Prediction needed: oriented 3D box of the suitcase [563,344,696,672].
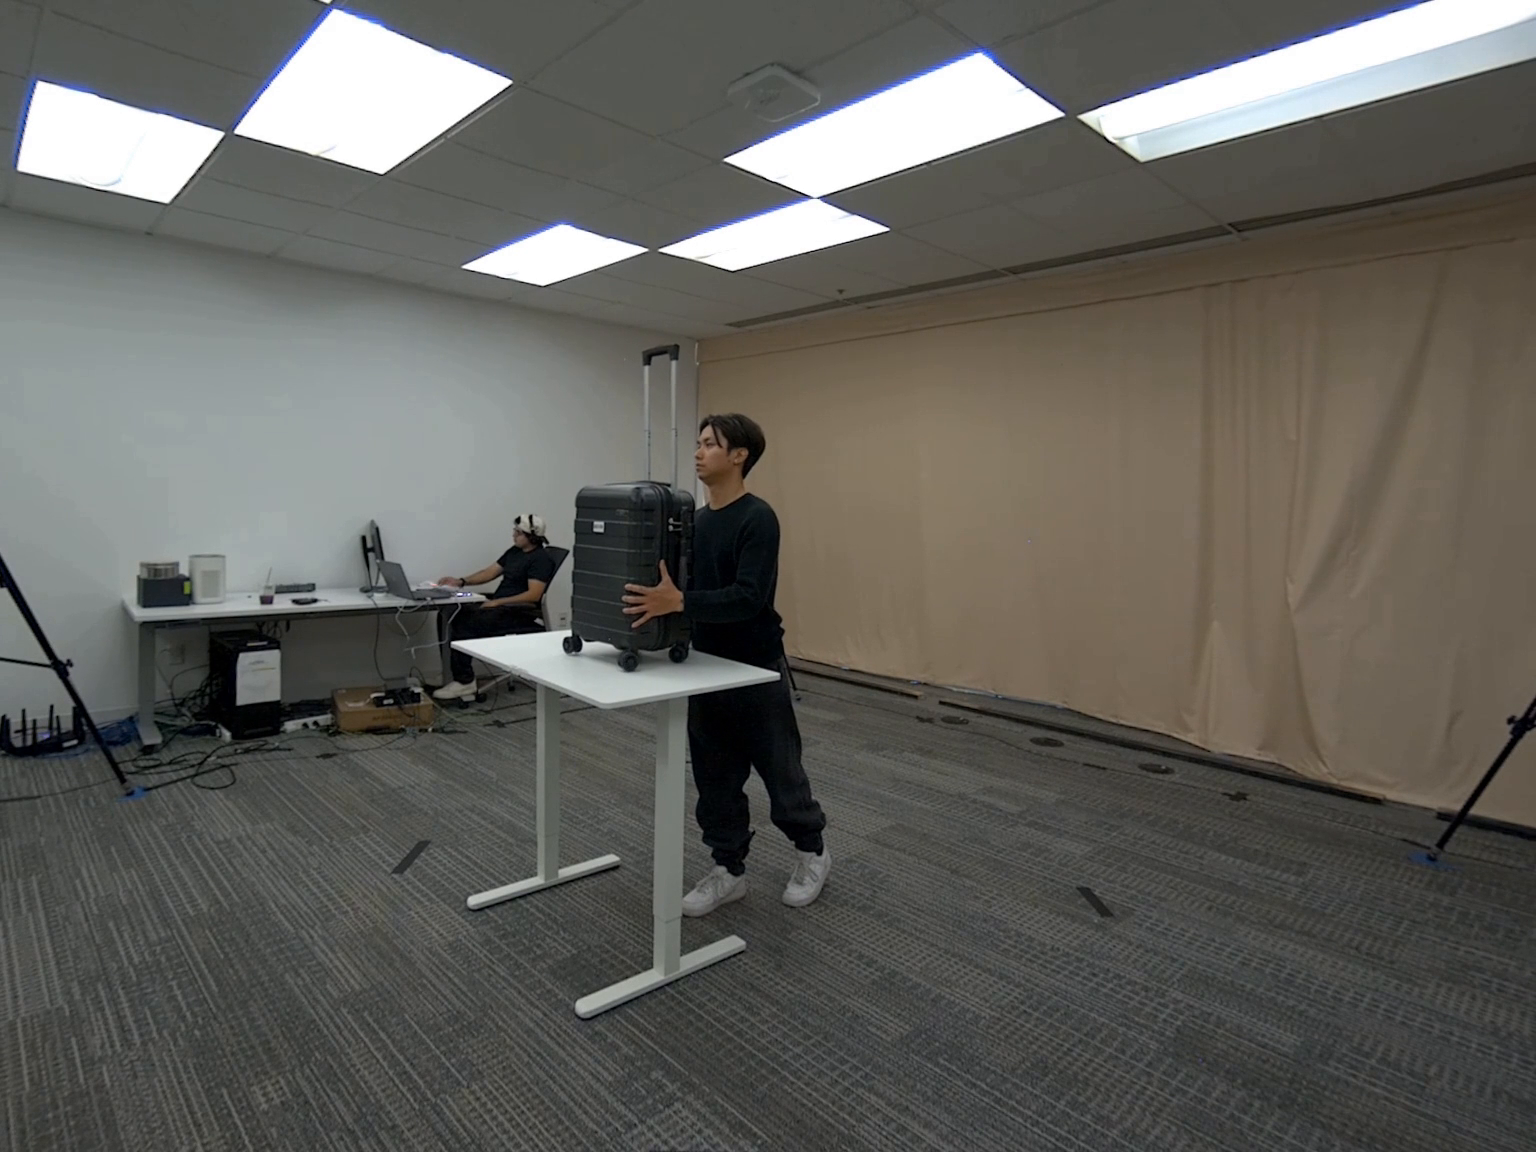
[{"bbox_3d":[-0.422,-0.224,2.597,0.251,0.975,0.394,-3,6,-43],"label":"suitcase"}]
